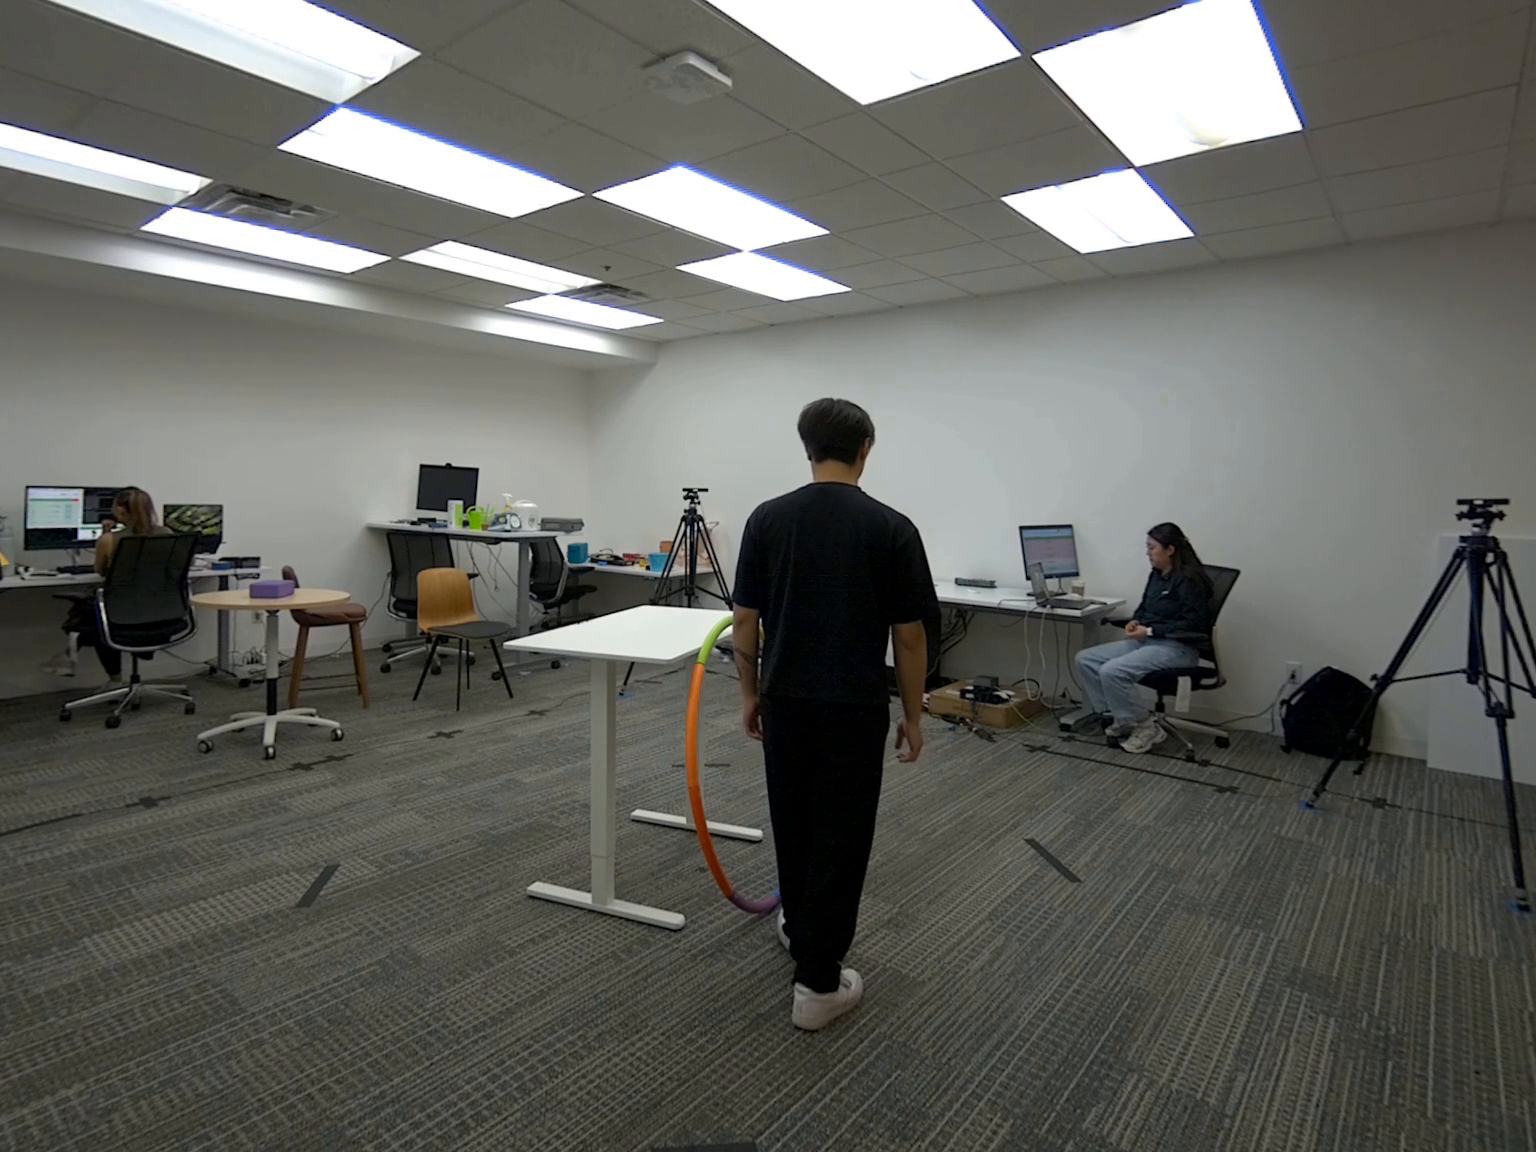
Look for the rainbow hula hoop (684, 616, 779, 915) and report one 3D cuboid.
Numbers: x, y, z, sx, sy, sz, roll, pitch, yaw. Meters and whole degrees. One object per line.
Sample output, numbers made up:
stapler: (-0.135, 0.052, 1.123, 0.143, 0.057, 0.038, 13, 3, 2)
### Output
rainbow hula hoop: (-0.048, 0.619, 2.916, 0.036, 0.981, 0.959, -11, -1, 21)
